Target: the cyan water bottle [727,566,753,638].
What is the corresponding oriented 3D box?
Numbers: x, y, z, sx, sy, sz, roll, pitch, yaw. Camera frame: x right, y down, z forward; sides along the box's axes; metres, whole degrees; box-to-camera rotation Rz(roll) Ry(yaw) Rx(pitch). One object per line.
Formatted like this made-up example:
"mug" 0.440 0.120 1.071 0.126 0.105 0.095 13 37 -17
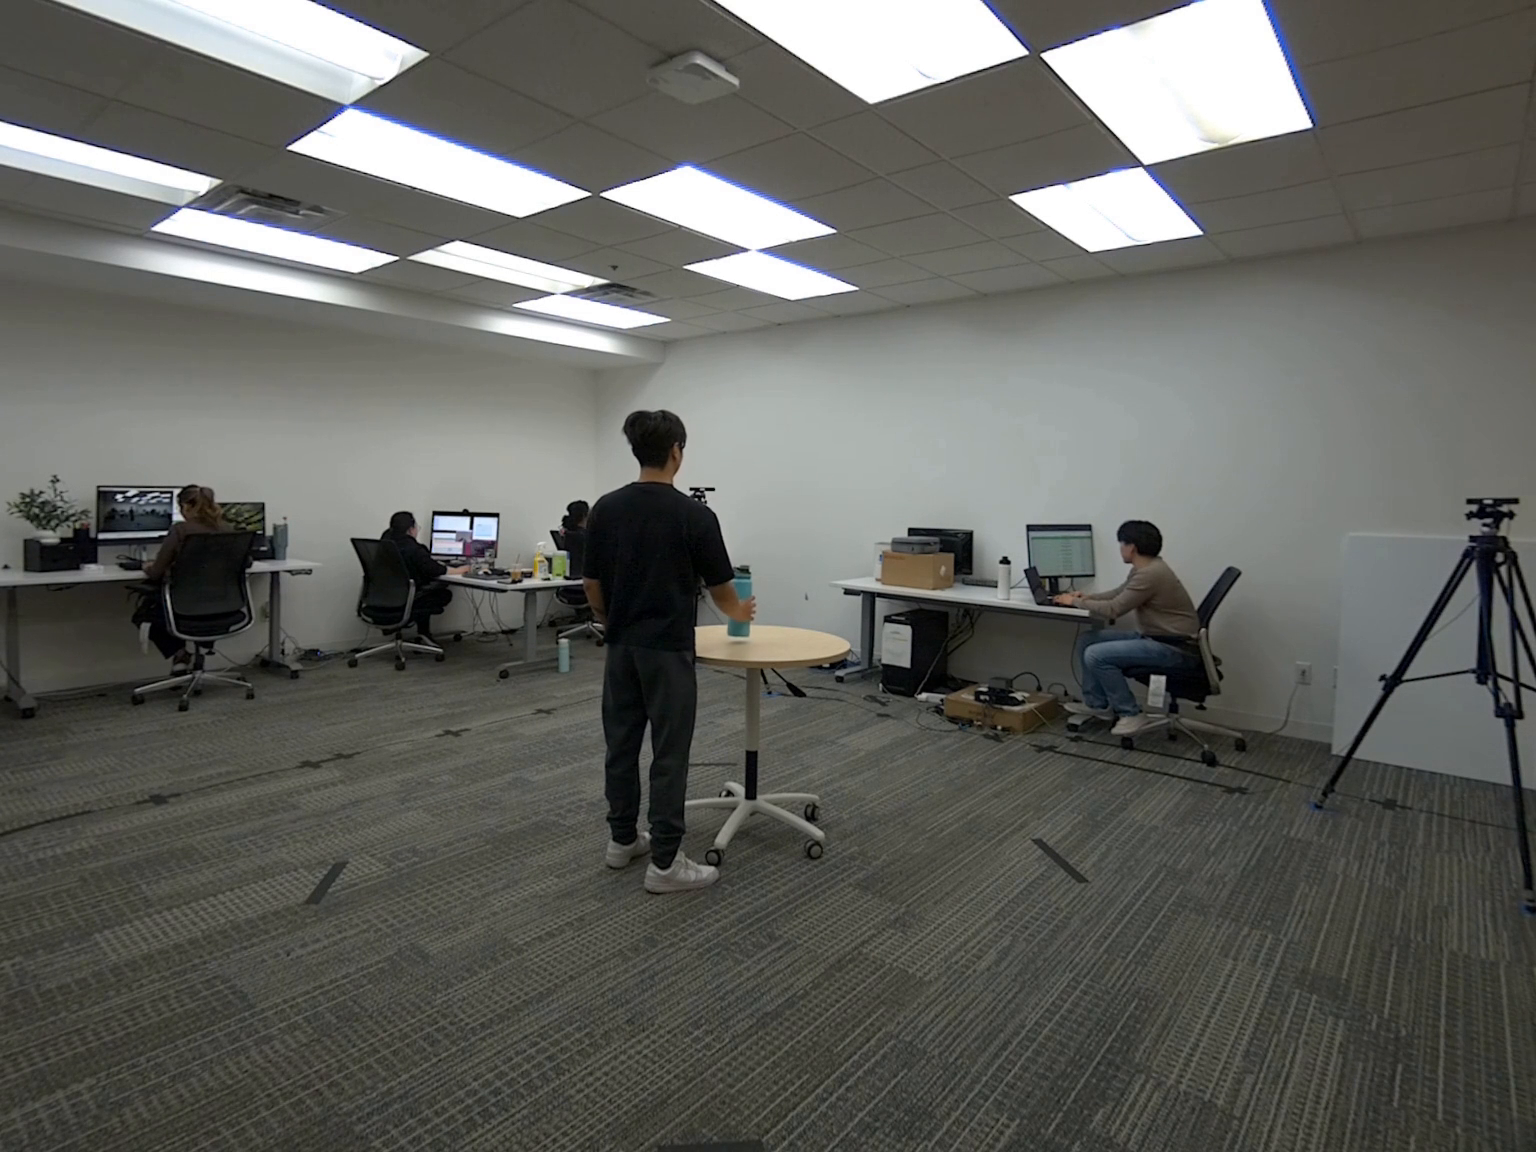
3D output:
"cyan water bottle" -0.117 0.094 3.371 0.092 0.284 0.092 1 -2 -2
